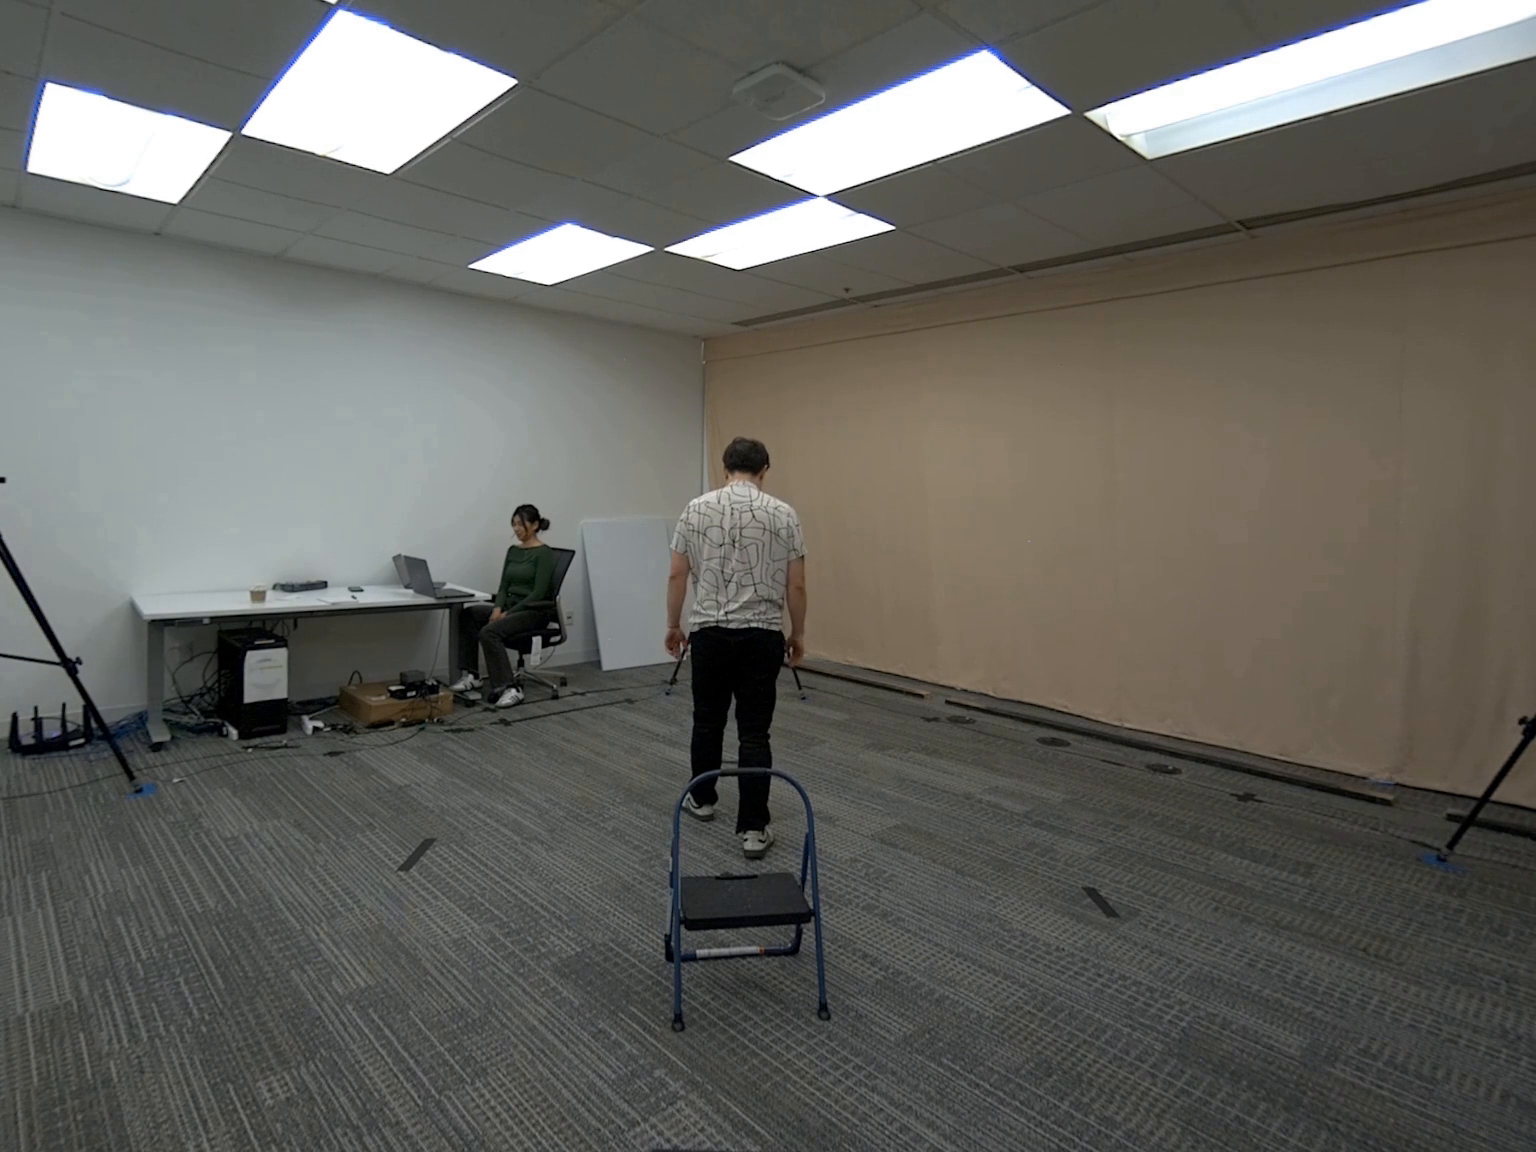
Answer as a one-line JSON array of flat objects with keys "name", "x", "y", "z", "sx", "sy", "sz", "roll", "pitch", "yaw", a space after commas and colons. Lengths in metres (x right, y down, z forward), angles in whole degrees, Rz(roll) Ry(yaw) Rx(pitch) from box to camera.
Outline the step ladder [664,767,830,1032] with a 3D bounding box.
[{"name": "step ladder", "x": -0.069, "y": 0.872, "z": 2.375, "sx": 0.427, "sy": 0.605, "sz": 0.353, "roll": 1, "pitch": 3, "yaw": -11}]
